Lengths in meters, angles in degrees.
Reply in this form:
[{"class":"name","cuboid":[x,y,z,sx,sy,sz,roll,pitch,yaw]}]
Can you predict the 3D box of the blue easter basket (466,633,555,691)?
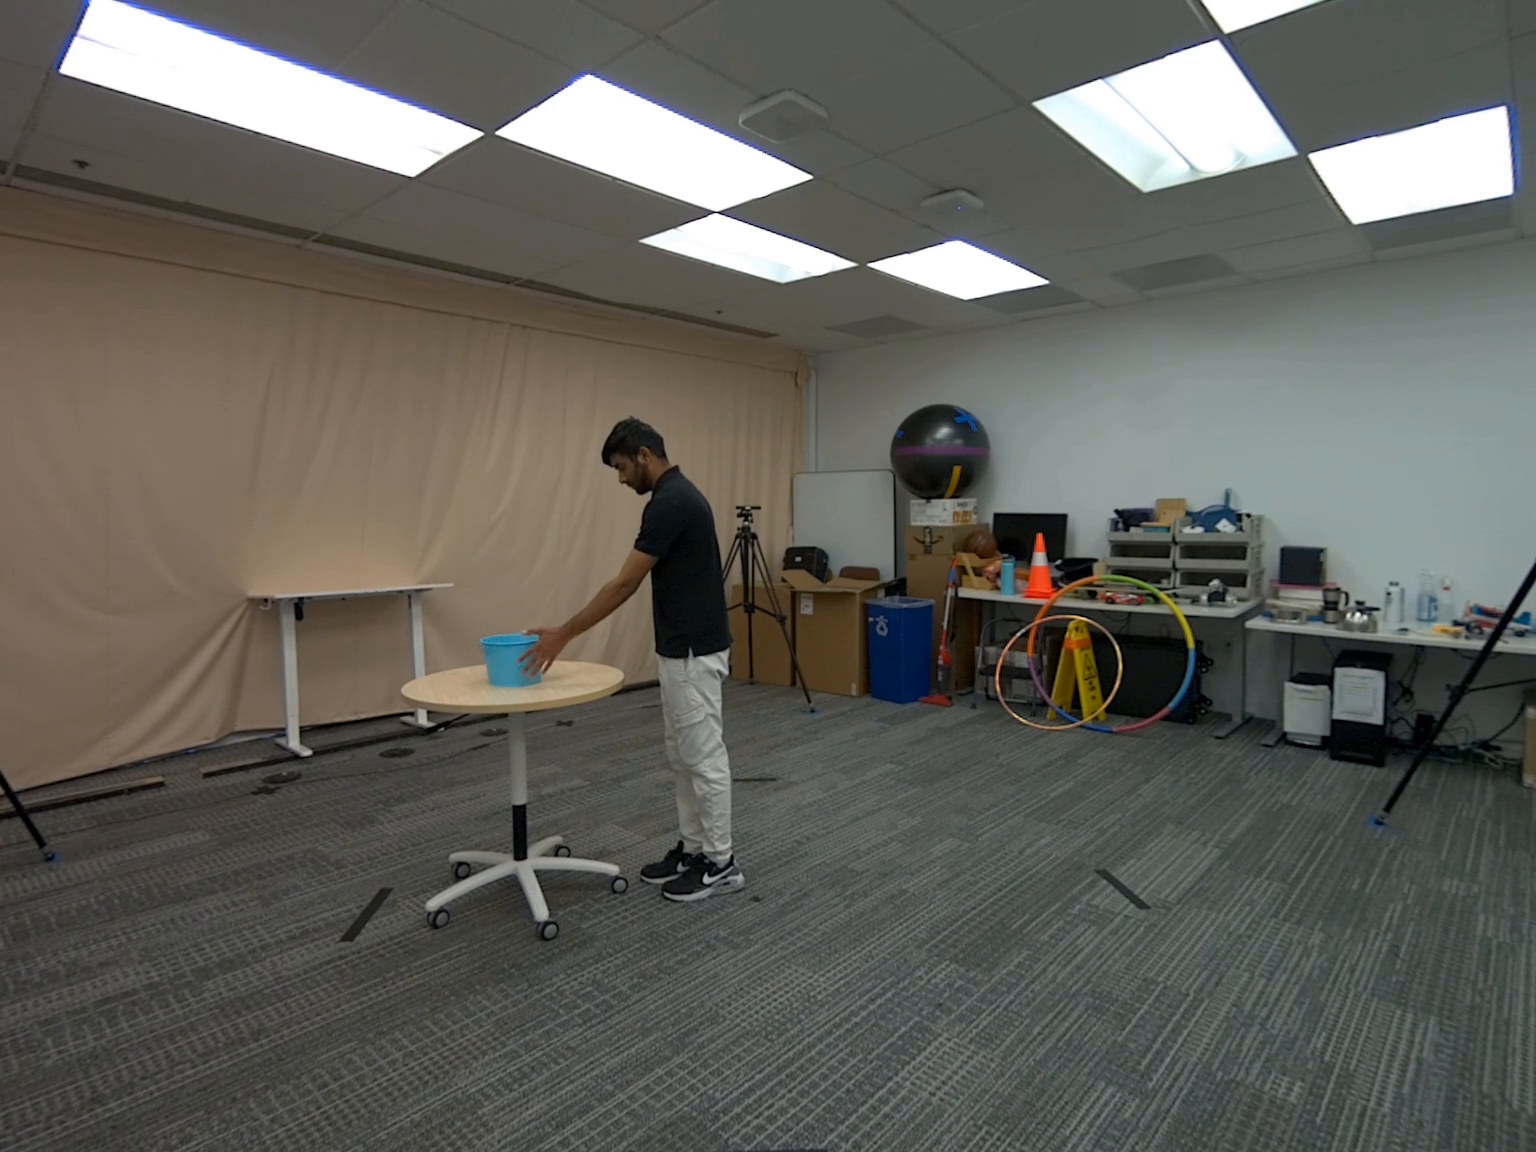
[{"class":"blue easter basket","cuboid":[-0.895,0.296,2.961,0.243,0.155,0.244,-1,3,-2]}]
